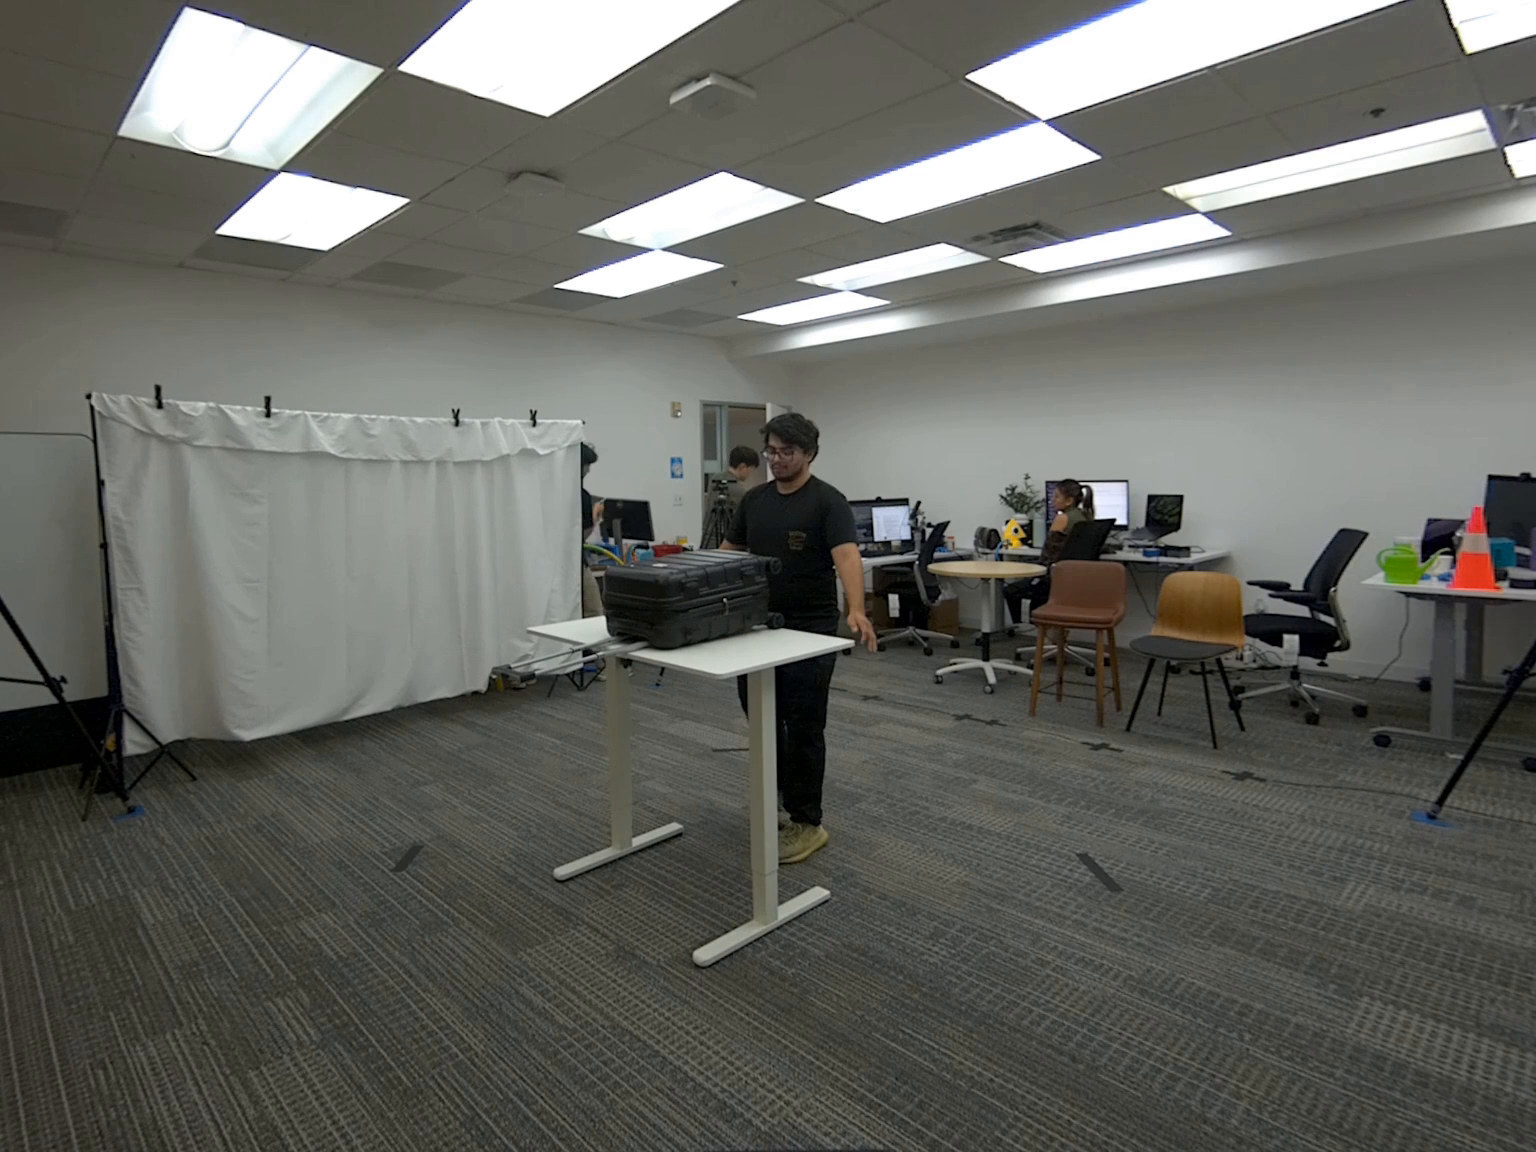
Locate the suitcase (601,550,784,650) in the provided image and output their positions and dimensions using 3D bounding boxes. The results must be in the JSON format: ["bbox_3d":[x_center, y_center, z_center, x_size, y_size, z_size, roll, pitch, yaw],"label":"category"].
[{"bbox_3d":[-0.403,0.095,2.725,0.954,0.255,0.396,-10,11,-43],"label":"suitcase"}]
